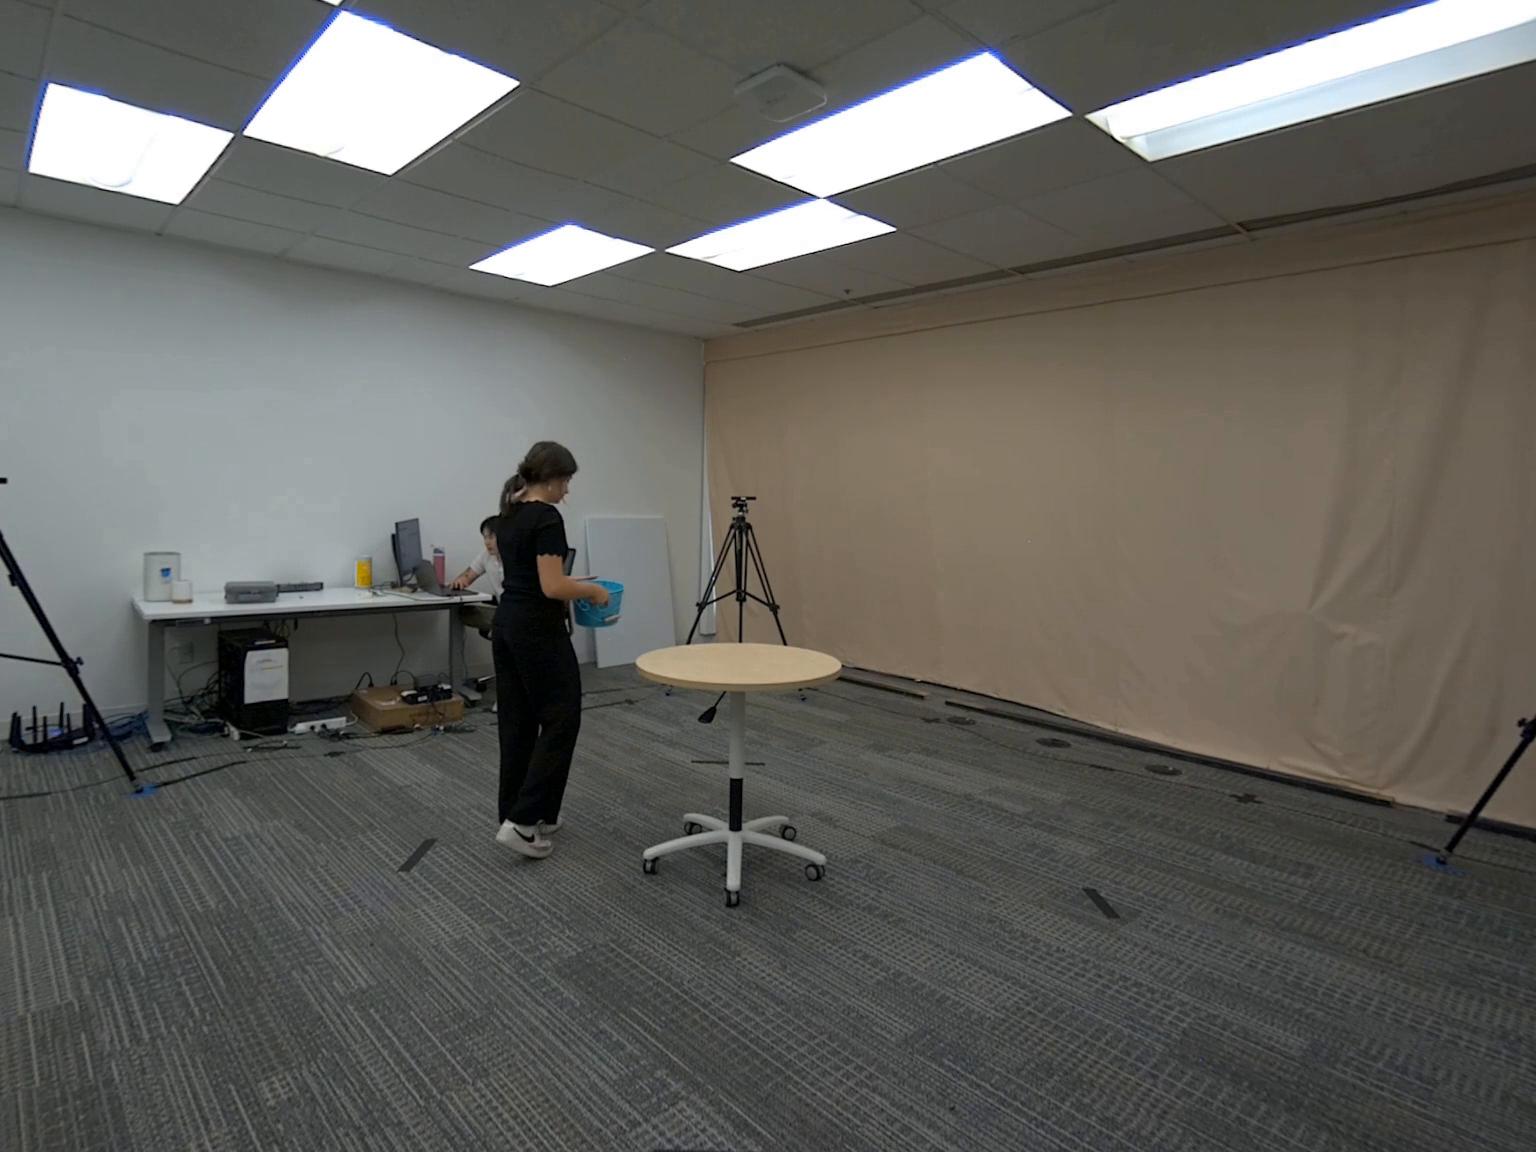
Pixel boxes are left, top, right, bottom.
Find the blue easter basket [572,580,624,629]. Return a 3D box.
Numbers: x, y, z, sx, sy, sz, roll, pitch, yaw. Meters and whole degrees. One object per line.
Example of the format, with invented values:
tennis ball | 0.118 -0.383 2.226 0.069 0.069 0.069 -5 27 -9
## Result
blue easter basket | -0.734 0.120 3.518 0.243 0.155 0.245 1 10 -2
